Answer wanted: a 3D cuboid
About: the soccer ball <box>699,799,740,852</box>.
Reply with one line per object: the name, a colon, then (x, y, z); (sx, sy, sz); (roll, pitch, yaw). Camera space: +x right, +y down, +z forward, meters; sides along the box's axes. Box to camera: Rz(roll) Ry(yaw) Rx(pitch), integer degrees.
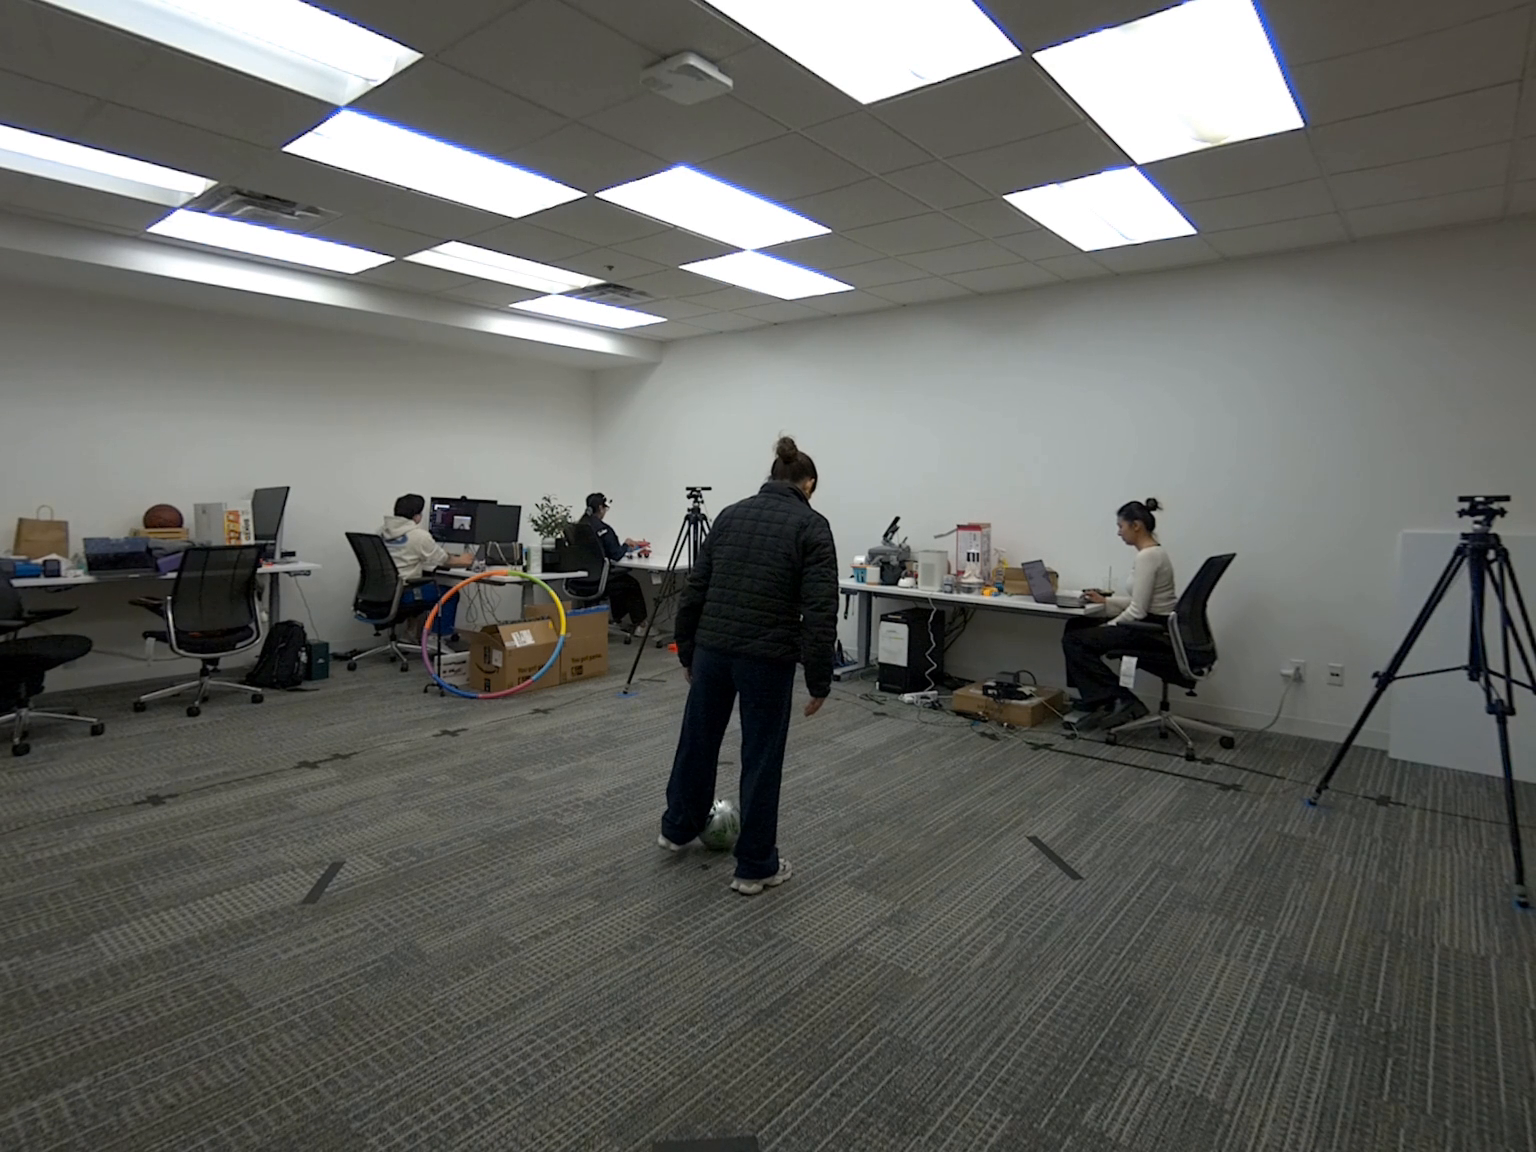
soccer ball: (-0.184, 0.957, 3.281); (0.187, 0.187, 0.188); (1, 4, -2)
